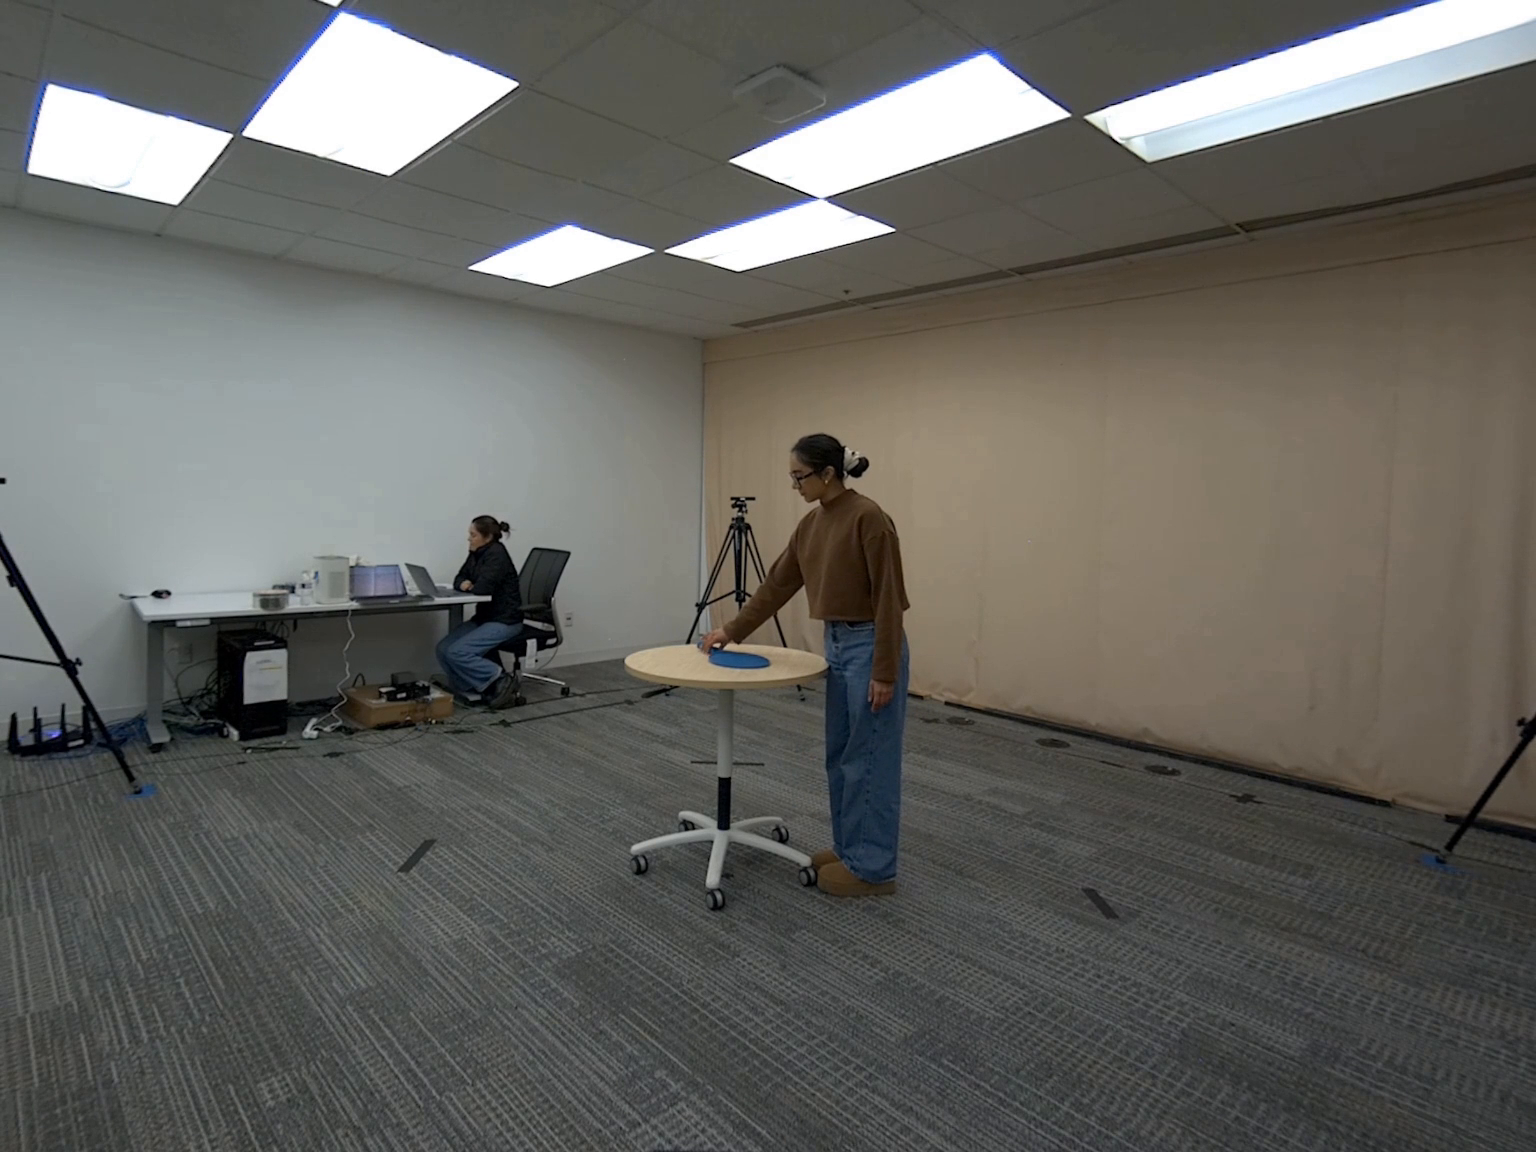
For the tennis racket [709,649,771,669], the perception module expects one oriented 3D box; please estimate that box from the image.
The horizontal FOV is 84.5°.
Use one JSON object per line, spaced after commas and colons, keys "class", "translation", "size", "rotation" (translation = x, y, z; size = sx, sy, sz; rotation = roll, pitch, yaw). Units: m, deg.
{"class": "tennis racket", "translation": [-0.147, 0.307, 3.204], "size": [0.209, 0.031, 0.443], "rotation": [-2, 7, -30]}
